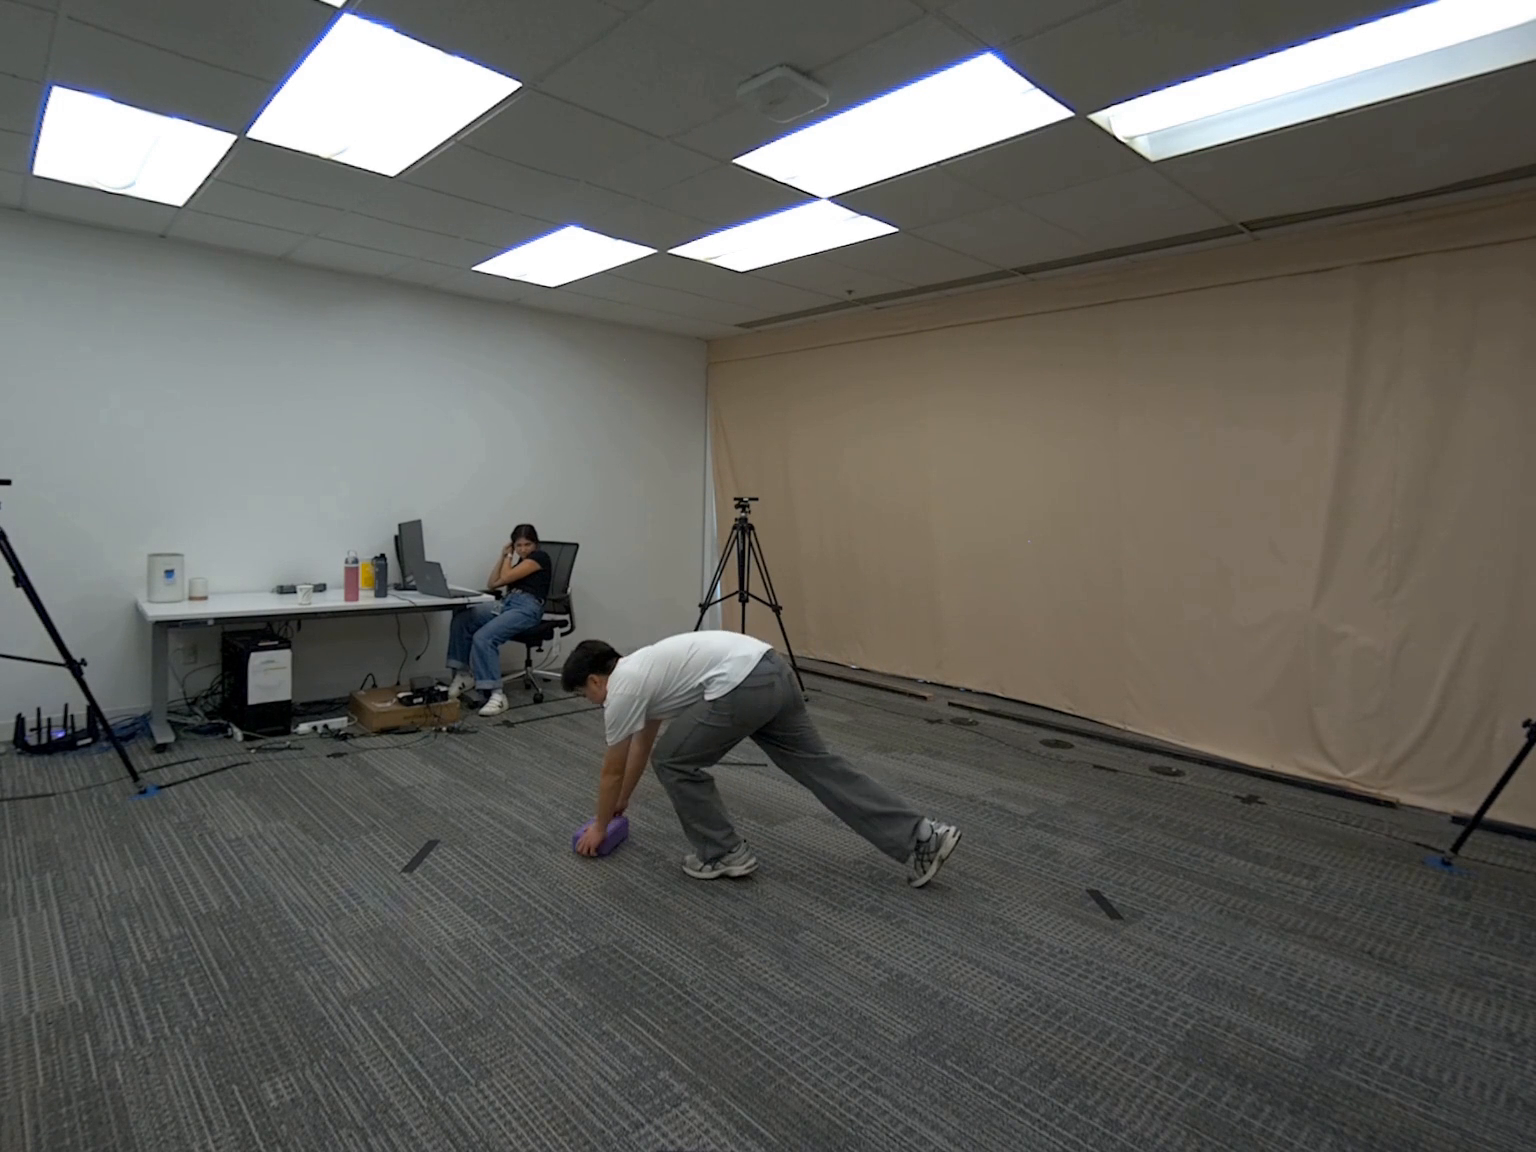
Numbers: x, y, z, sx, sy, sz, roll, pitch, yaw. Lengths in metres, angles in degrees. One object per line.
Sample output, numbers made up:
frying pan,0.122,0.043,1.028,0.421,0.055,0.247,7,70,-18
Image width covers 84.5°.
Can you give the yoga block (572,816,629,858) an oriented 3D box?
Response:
yoga block,-0.669,1.035,3.360,0.151,0.076,0.227,2,6,13
